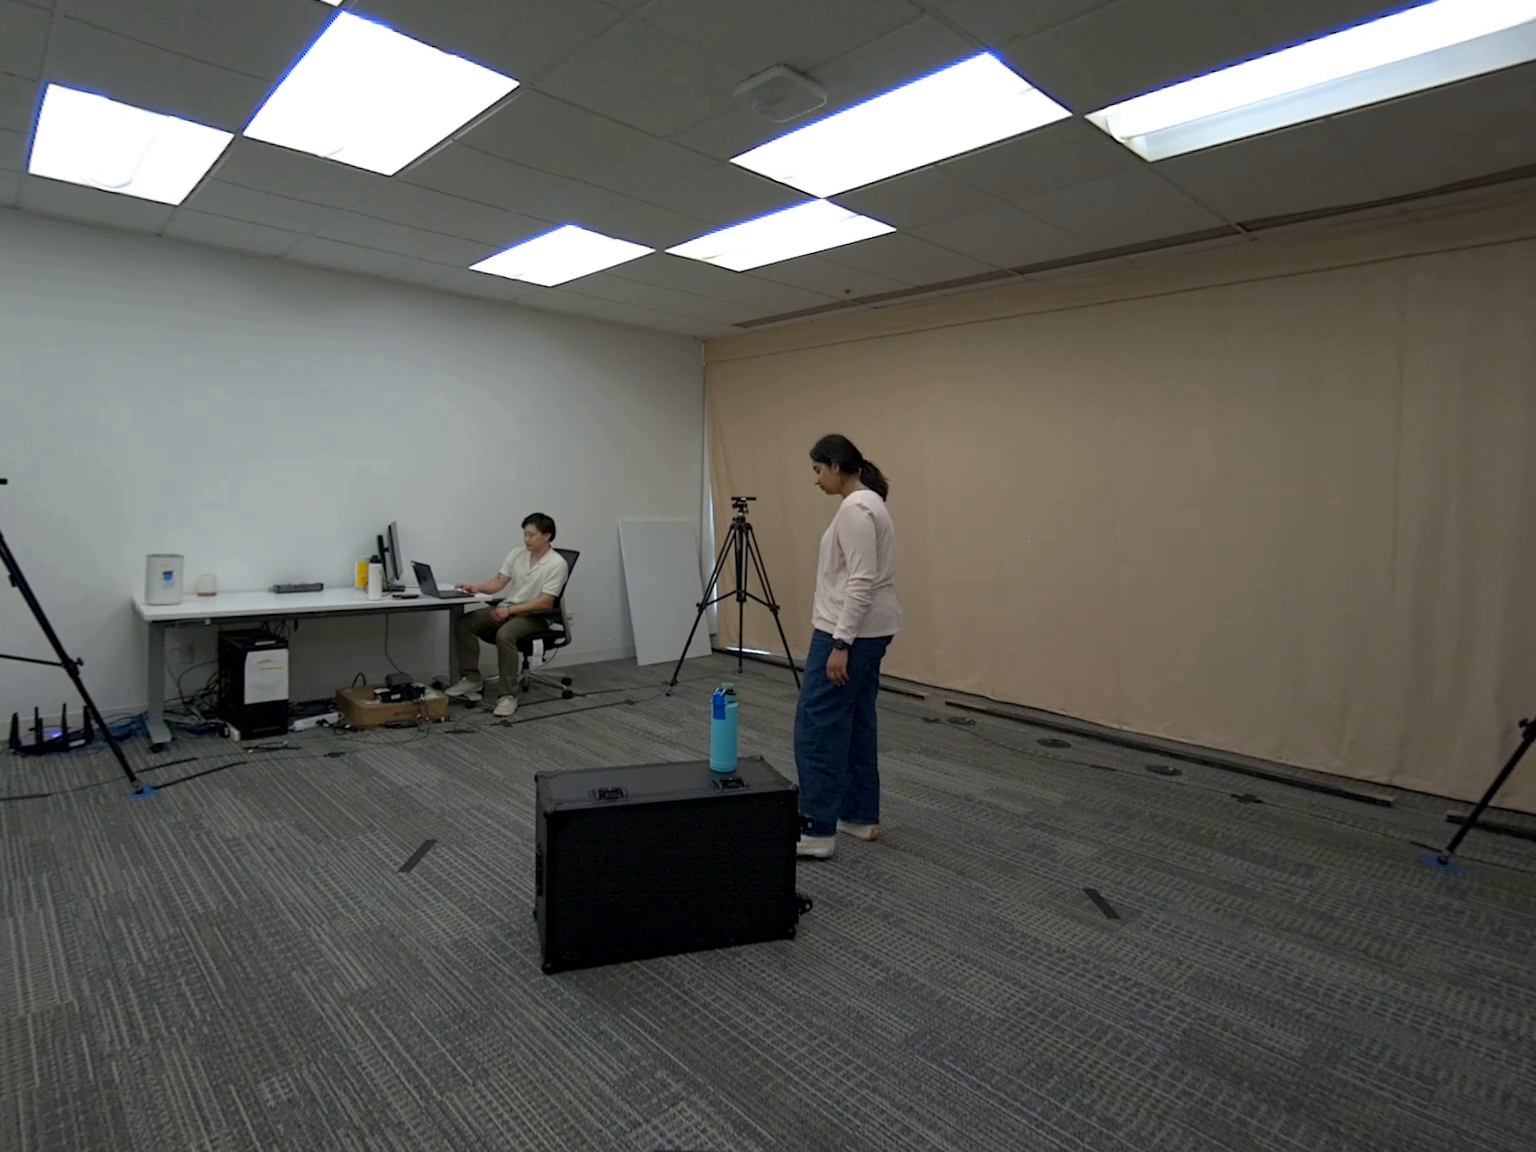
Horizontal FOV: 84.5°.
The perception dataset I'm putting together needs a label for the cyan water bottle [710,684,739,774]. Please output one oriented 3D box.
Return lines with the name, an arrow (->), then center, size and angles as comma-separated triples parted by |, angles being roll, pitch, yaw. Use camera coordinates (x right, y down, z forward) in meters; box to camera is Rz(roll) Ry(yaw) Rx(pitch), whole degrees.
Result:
cyan water bottle -> -0.158, 0.507, 2.822 | 0.092, 0.282, 0.093 | 1, 5, -2
